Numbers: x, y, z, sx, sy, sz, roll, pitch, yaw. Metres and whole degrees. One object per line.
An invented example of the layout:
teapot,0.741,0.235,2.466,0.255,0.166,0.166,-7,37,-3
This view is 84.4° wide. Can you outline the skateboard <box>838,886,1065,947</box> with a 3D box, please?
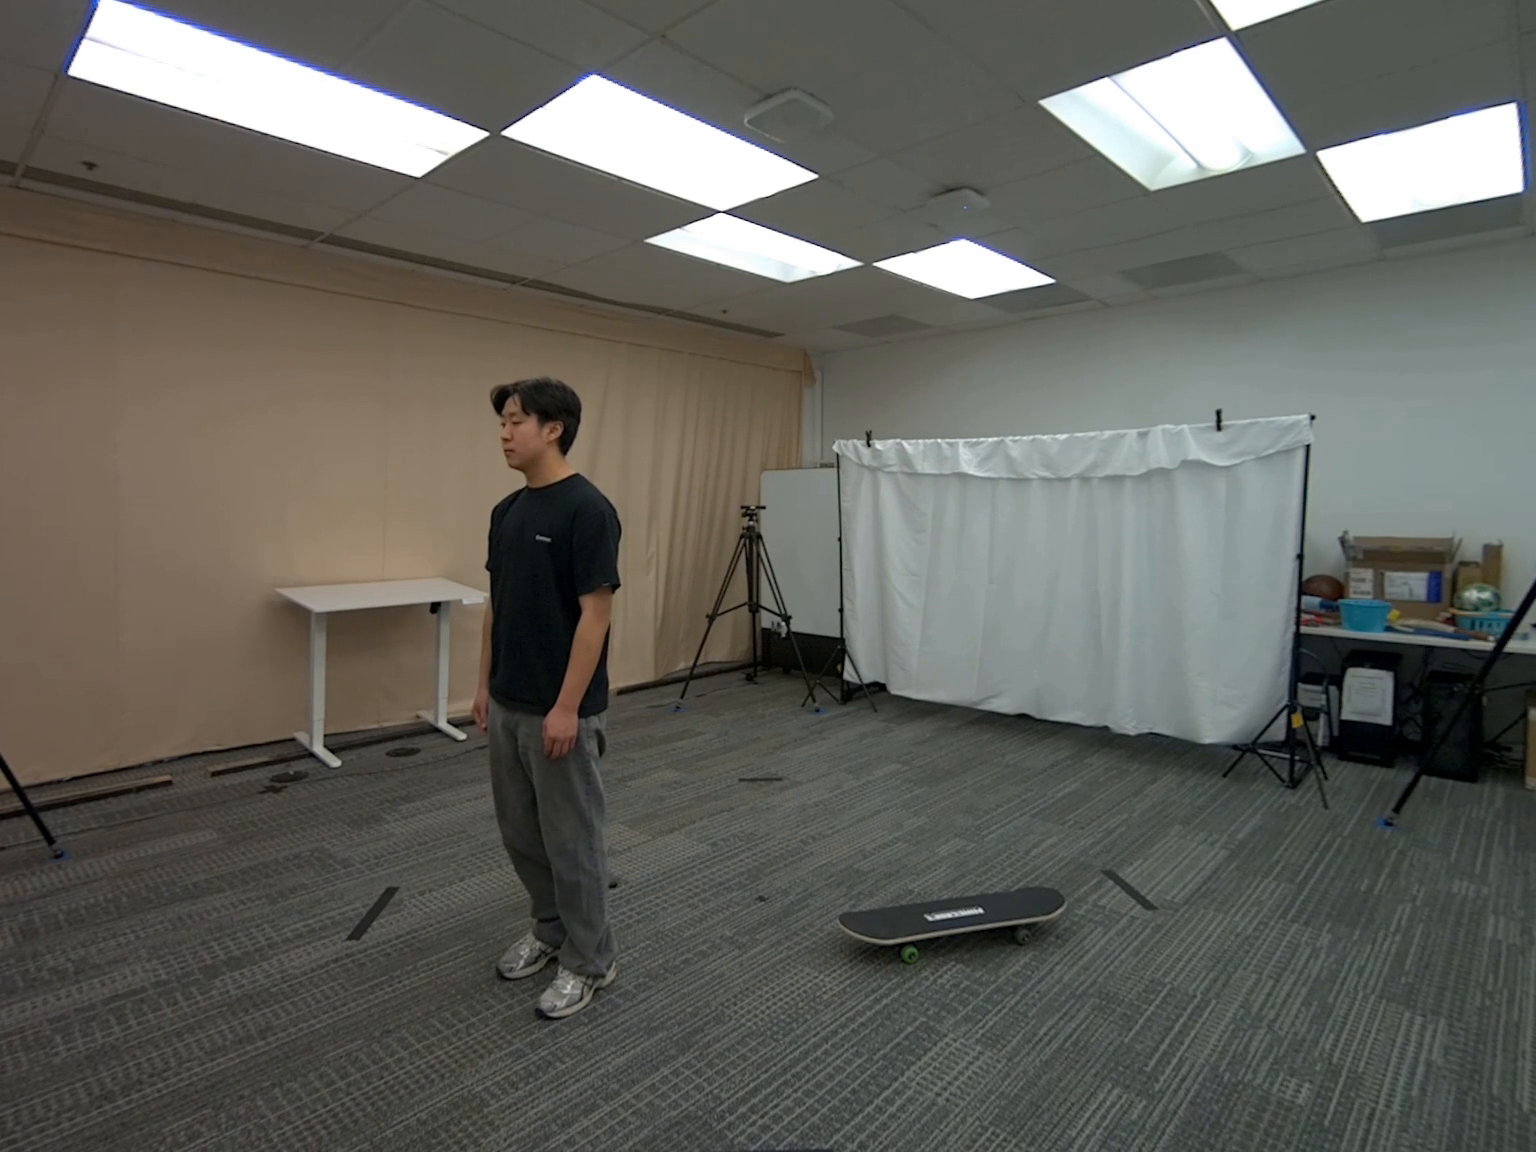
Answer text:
skateboard,0.601,1.112,2.682,0.773,0.110,0.197,-1,4,-16
